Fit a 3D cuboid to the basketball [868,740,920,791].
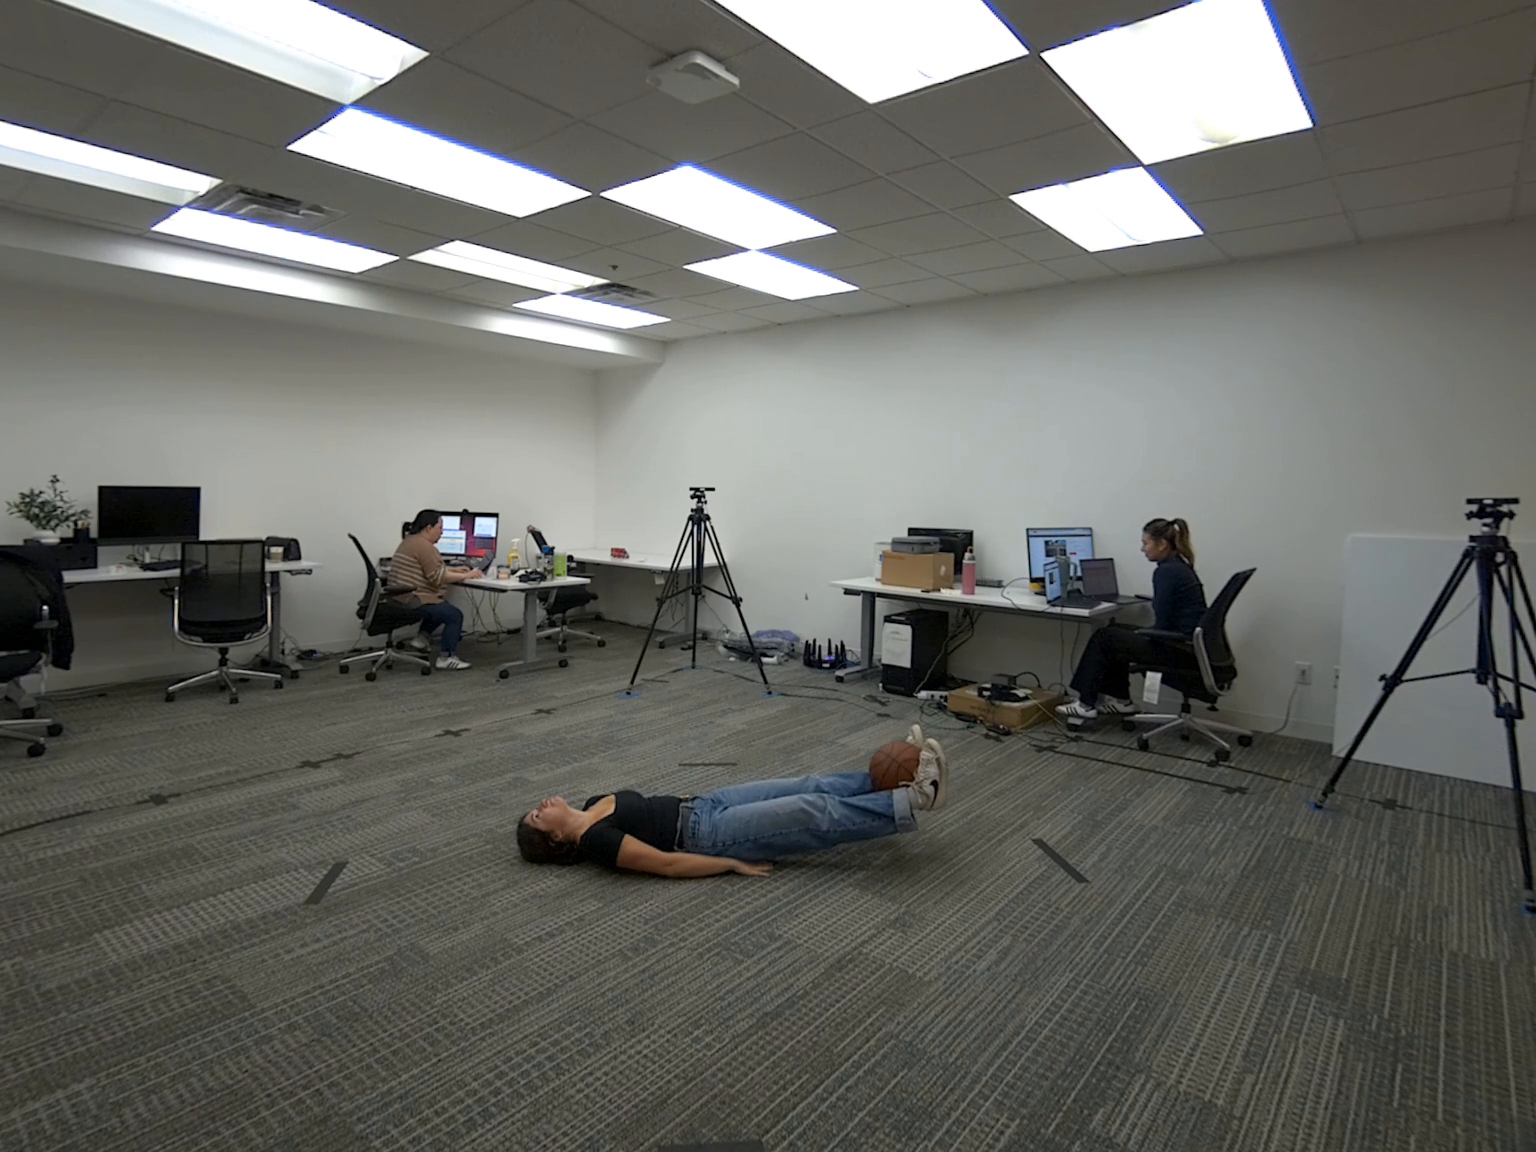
[{"bbox_3d":[0.503,0.753,3.306,0.235,0.235,0.237,1,4,-2],"label":"basketball"}]
